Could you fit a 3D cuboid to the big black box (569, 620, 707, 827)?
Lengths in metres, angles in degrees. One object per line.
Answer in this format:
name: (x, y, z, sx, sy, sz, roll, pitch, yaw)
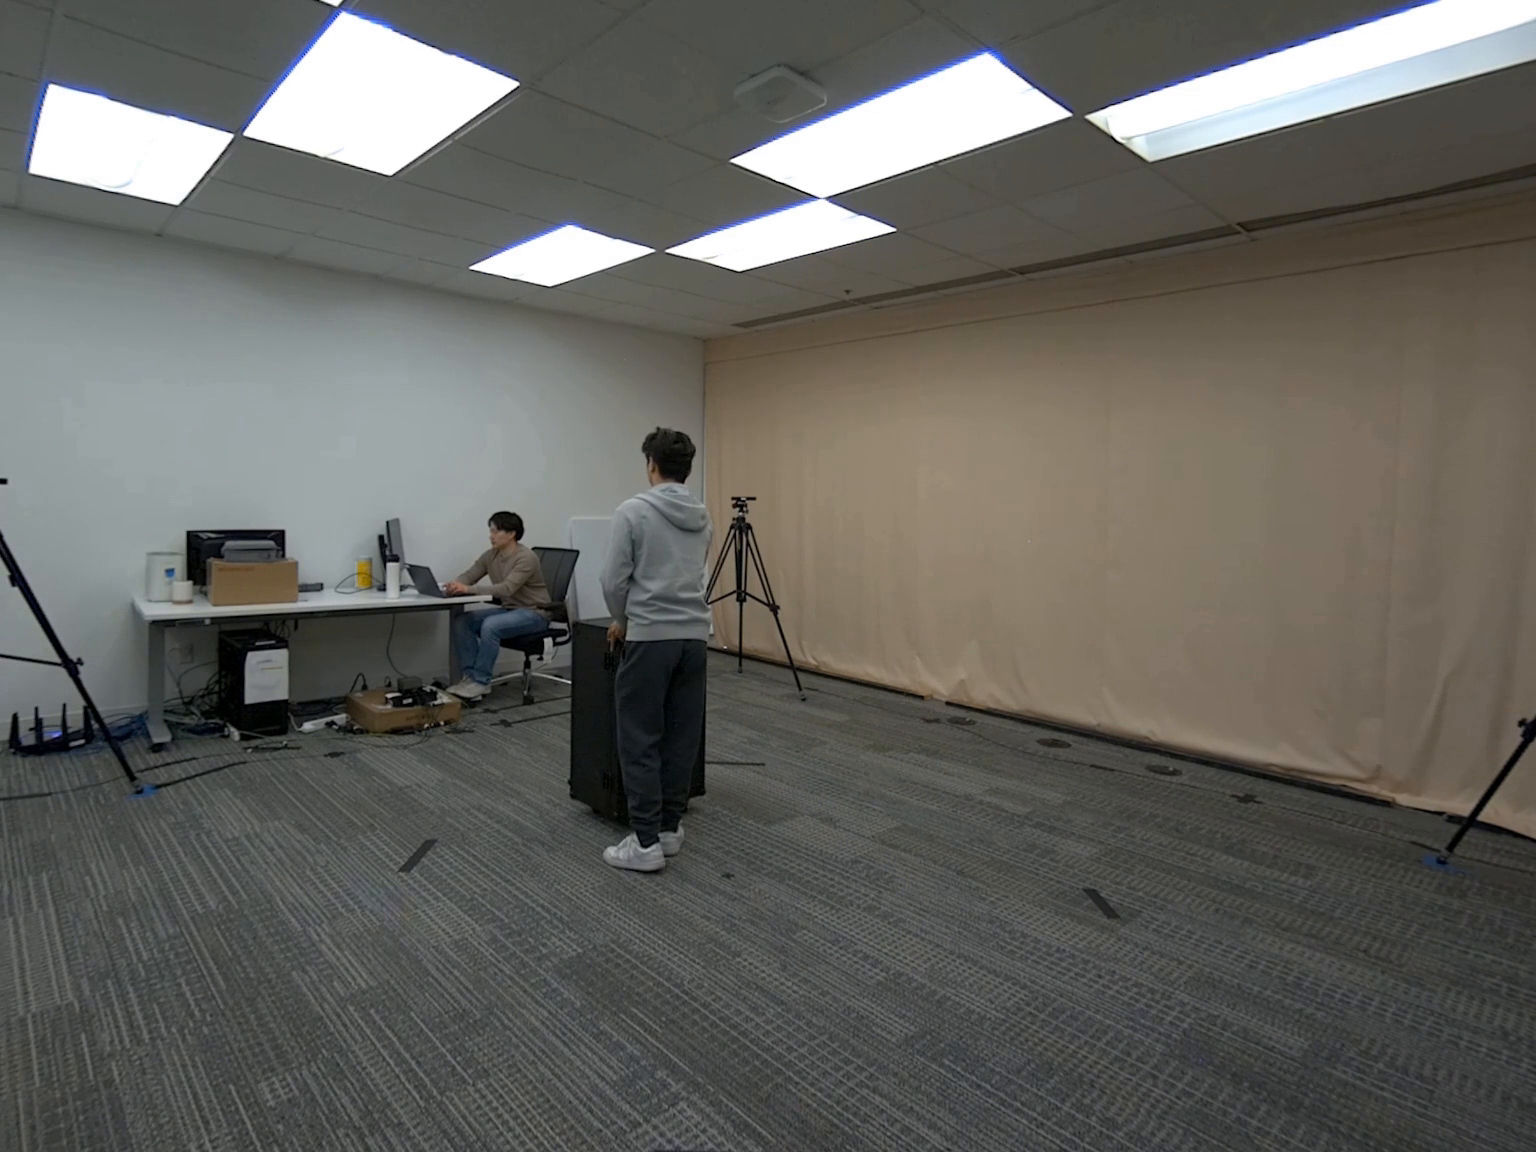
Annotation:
big black box: (-0.586, 0.616, 3.712, 0.509, 0.860, 0.406, -2, 3, -45)
